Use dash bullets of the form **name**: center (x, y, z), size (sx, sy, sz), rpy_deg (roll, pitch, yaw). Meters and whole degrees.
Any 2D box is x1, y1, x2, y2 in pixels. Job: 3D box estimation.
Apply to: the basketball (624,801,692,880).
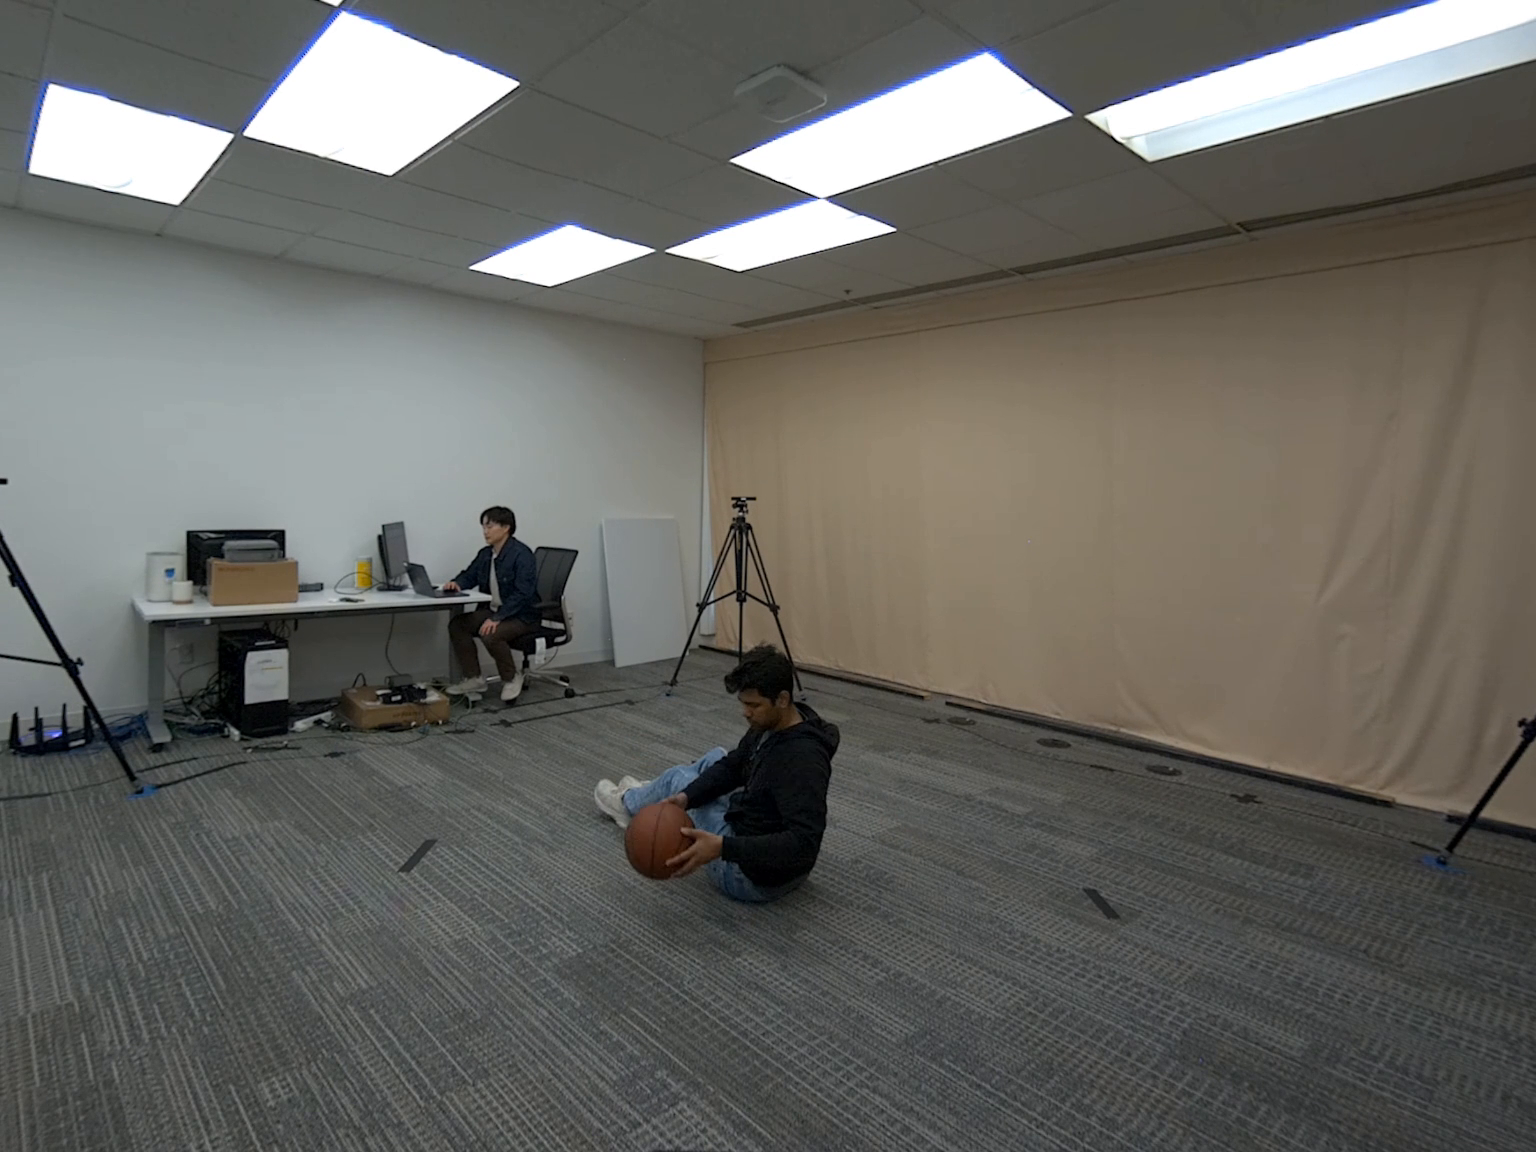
- **basketball**: center (-0.346, 0.851, 2.753), size (0.236, 0.235, 0.237), rpy_deg (1, 4, -1)
